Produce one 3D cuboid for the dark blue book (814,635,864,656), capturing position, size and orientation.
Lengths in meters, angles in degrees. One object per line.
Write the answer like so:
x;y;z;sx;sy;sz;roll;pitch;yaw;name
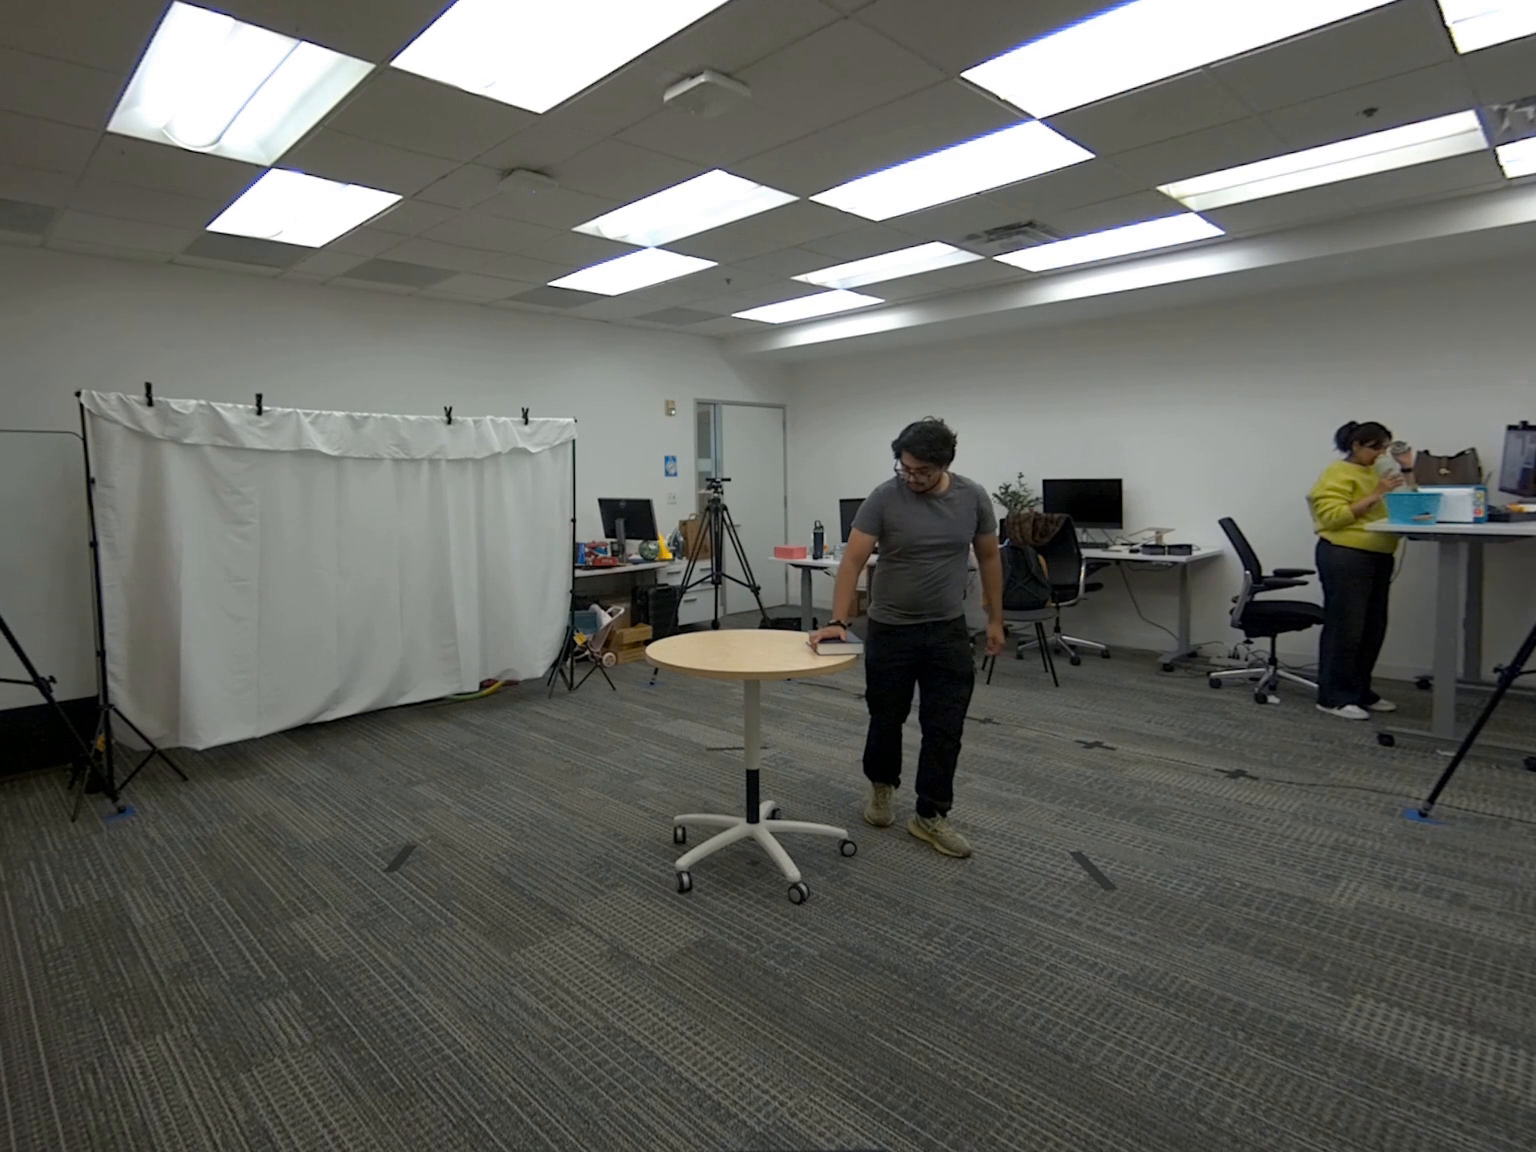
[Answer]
0.247;0.241;3.078;0.162;0.045;0.247;-1;7;-6;dark blue book
